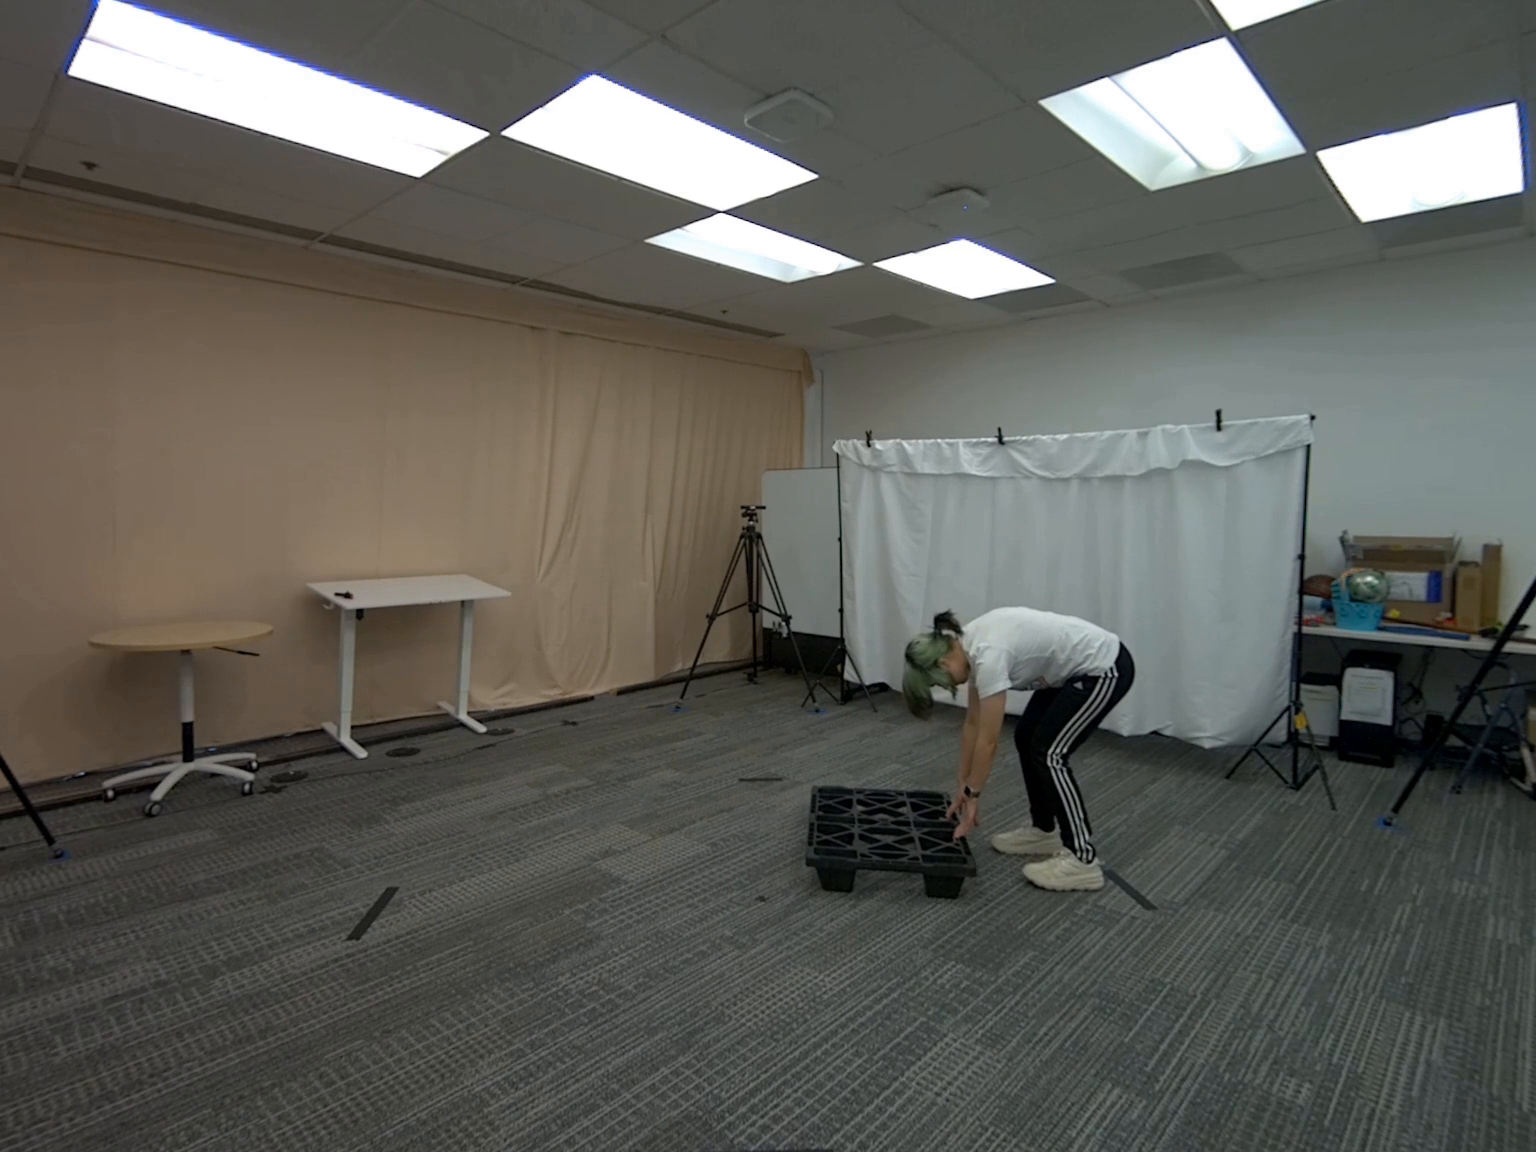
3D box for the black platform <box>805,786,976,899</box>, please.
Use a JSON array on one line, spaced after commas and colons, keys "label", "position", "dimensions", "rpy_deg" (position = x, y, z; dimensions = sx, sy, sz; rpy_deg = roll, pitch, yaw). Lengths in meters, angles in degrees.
[{"label": "black platform", "position": [0.469, 1.041, 3.360], "dimensions": [0.610, 0.143, 0.801], "rpy_deg": [1, 5, 6]}]
